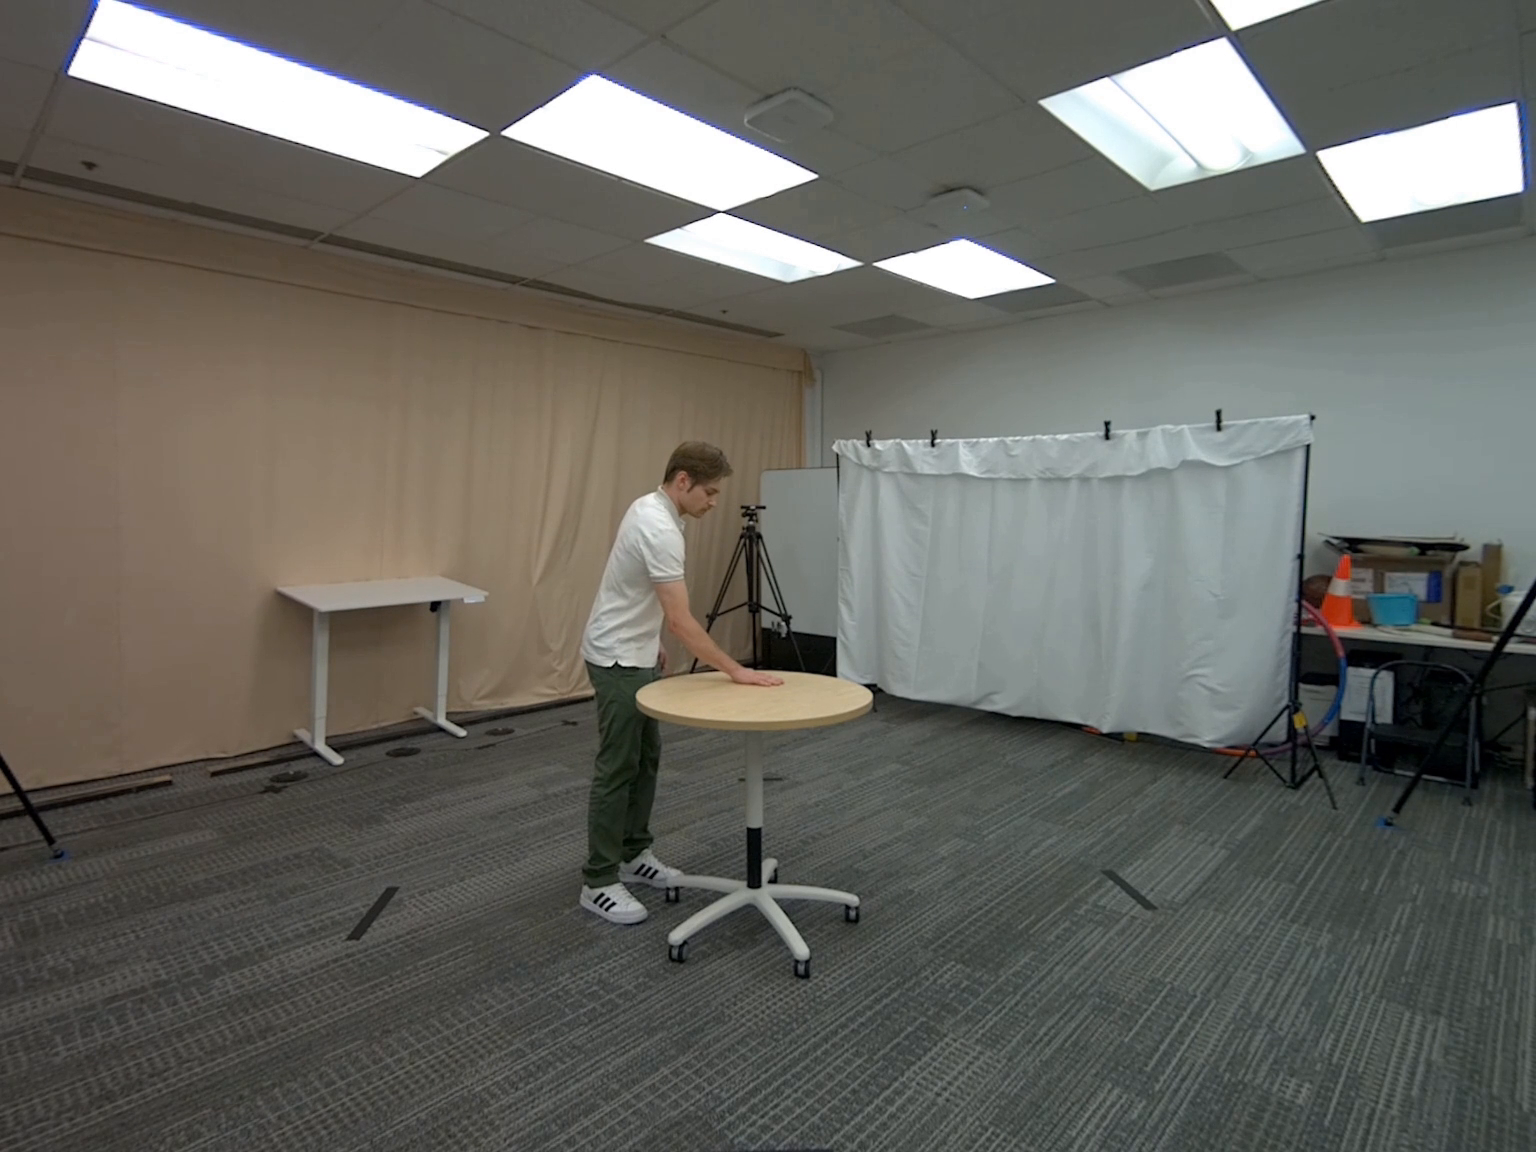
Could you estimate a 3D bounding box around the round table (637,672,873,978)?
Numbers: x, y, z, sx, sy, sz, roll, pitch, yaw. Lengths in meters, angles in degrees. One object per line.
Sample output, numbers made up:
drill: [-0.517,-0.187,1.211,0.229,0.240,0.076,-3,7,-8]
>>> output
round table: [-0.035,0.771,2.745,0.784,0.785,0.787,-1,3,-2]
